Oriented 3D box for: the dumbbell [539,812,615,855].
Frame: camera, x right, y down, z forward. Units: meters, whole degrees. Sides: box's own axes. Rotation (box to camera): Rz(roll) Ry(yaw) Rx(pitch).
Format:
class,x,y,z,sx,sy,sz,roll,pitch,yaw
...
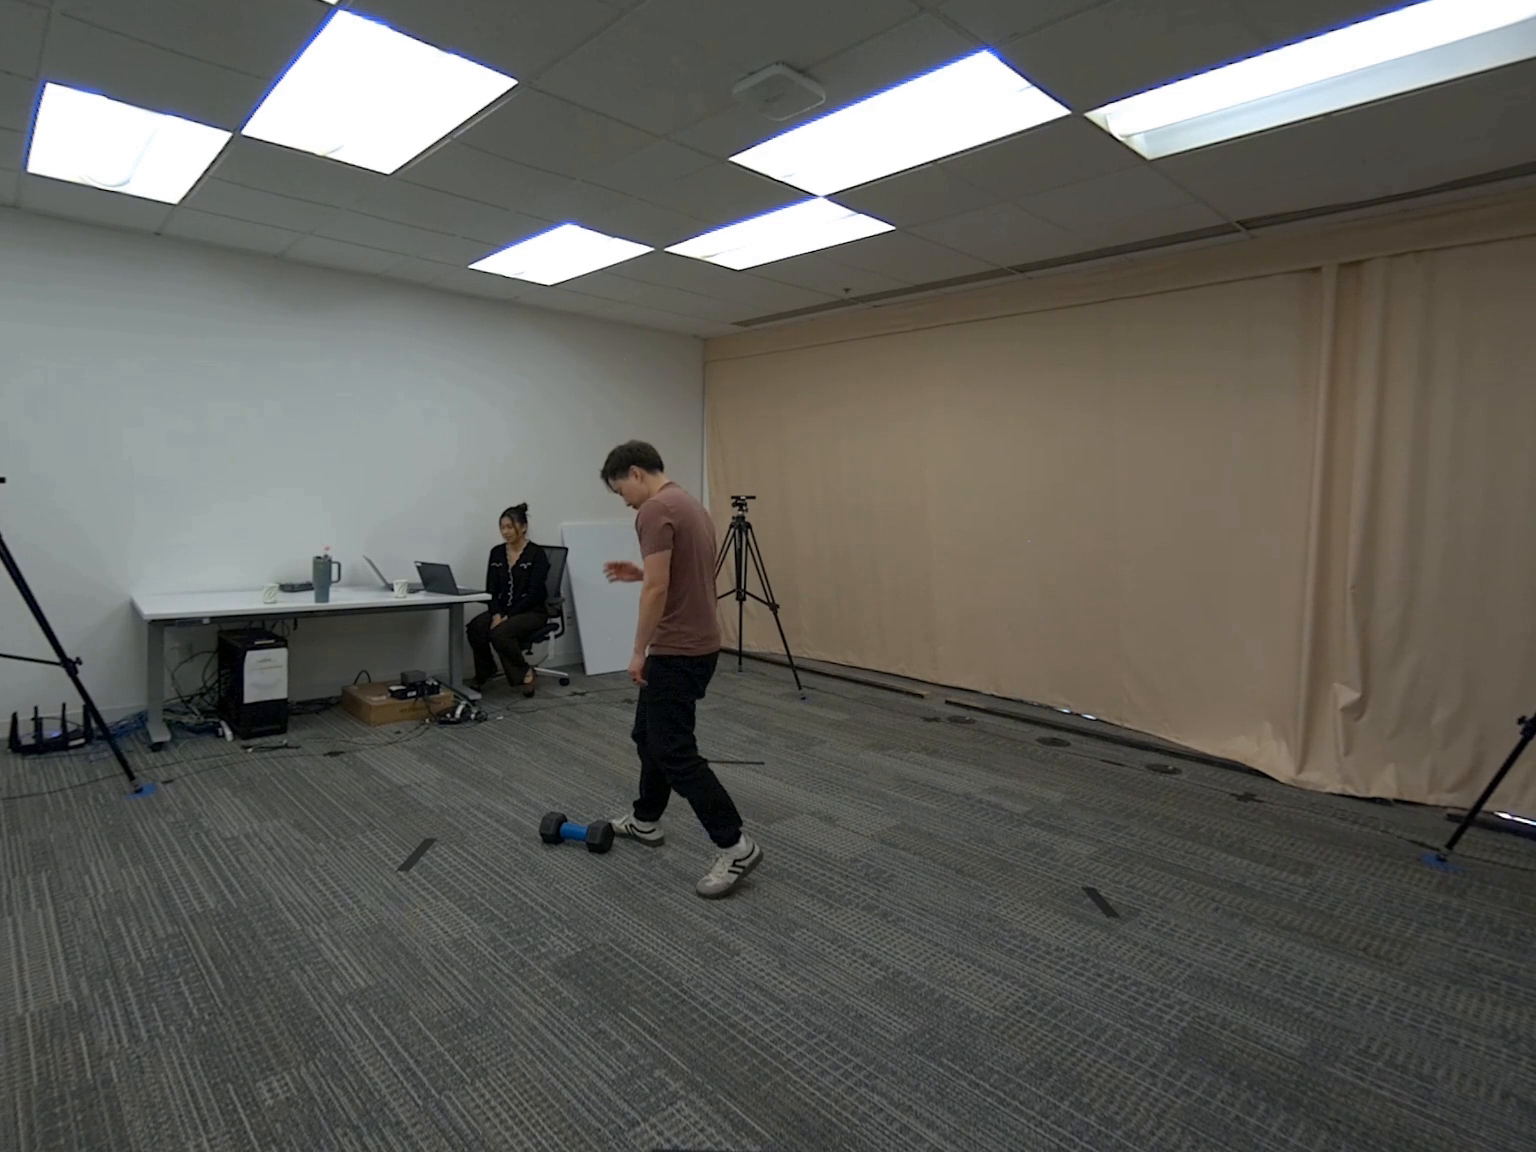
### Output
class,x,y,z,sx,sy,sz,roll,pitch,yaw
dumbbell,-0.765,1.017,3.323,0.298,0.124,0.105,3,-25,21
